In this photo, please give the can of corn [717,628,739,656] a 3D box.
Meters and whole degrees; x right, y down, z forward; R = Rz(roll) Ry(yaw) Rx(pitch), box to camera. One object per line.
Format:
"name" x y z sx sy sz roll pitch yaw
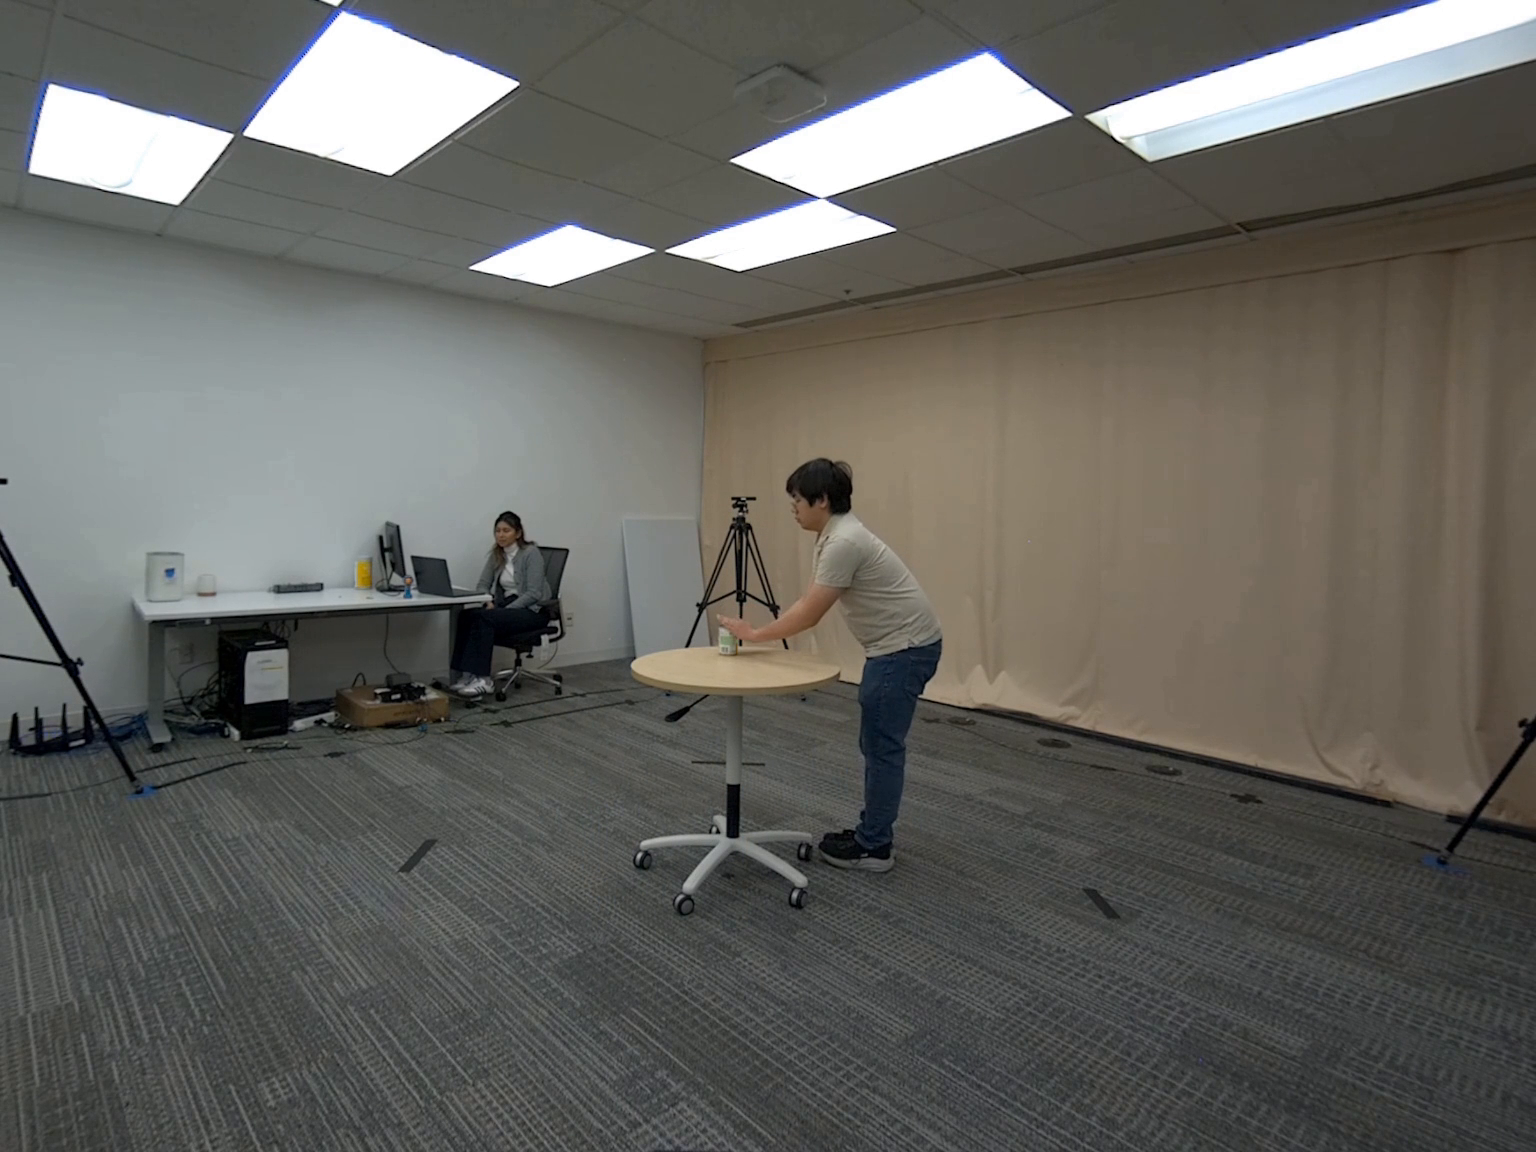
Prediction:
"can of corn" -0.166 0.251 3.284 0.074 0.111 0.074 0 4 -1
